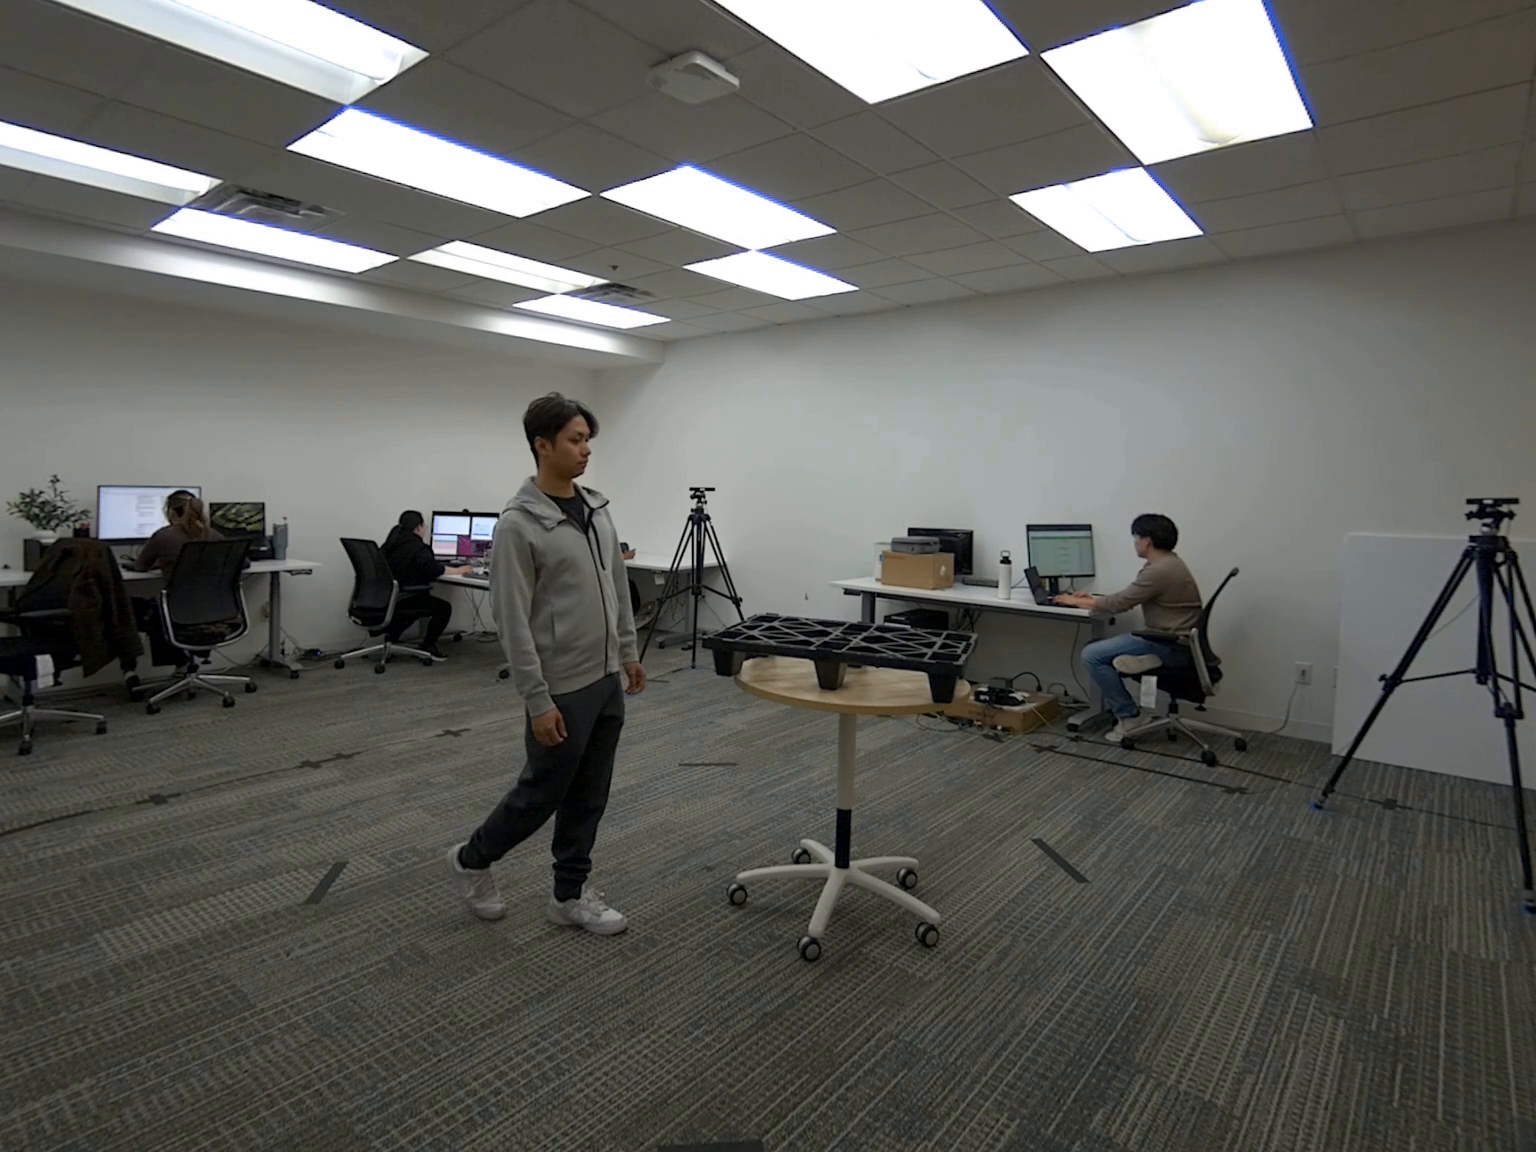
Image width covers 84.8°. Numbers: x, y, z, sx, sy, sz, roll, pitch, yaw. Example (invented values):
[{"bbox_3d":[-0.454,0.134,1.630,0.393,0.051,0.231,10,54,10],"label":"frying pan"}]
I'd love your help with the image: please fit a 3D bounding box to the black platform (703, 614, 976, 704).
[{"bbox_3d":[0.251,0.261,2.792,0.824,0.142,0.595,4,7,20],"label":"black platform"}]
